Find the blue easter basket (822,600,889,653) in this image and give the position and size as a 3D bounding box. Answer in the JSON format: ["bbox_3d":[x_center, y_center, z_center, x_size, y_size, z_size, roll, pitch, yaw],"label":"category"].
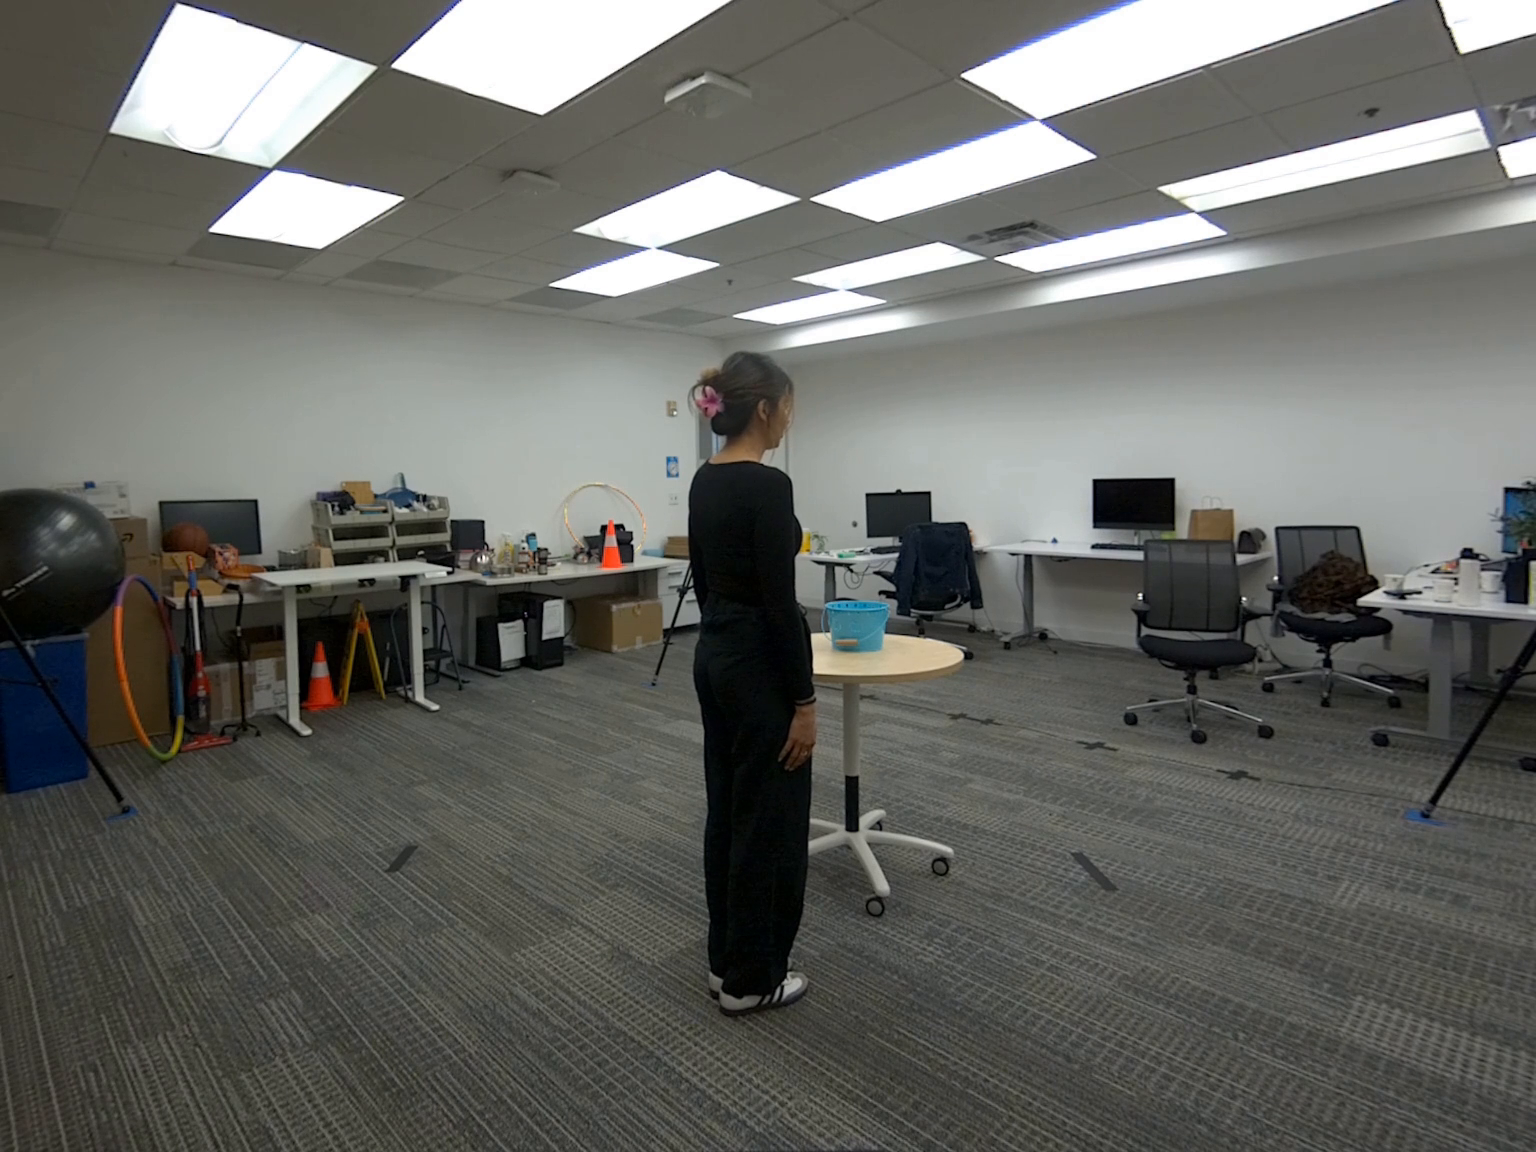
[{"bbox_3d":[0.324,0.187,3.081,0.243,0.155,0.245,0,5,-2],"label":"blue easter basket"}]
